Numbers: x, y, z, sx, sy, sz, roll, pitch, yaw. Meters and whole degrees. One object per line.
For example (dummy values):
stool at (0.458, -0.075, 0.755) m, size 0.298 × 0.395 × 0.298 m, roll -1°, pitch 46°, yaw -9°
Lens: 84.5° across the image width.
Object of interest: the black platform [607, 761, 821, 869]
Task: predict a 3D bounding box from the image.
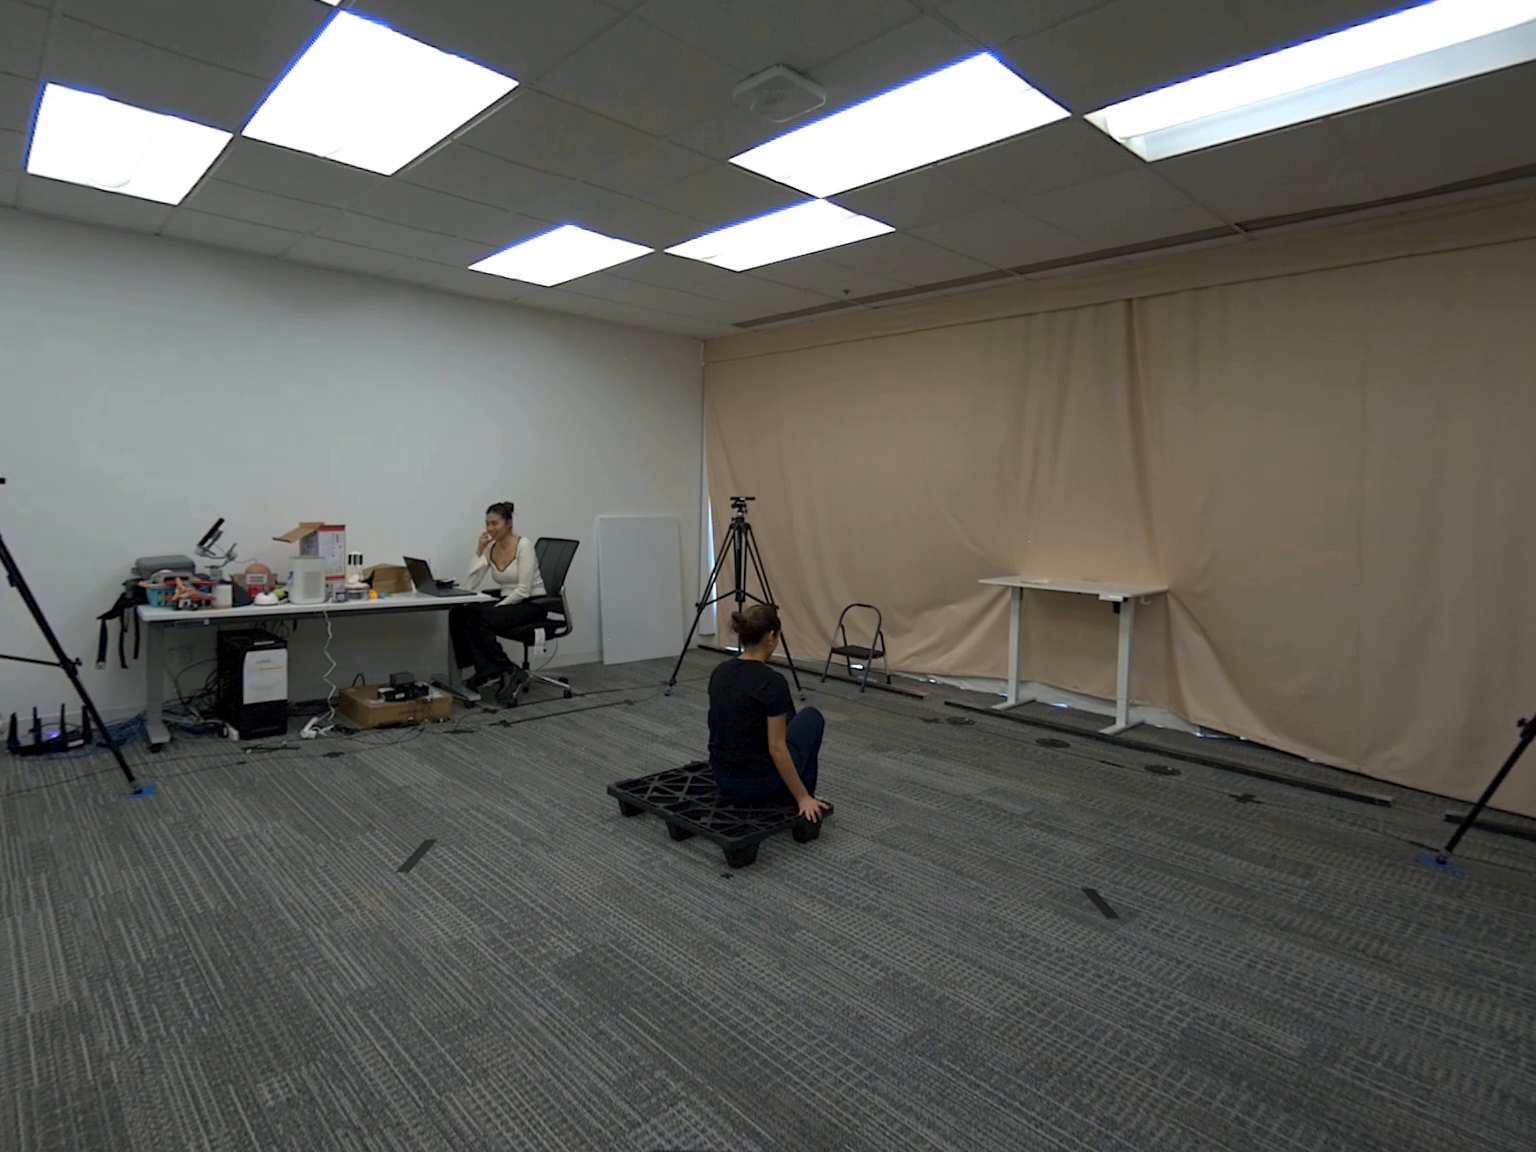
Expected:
black platform at (-0.224, 0.998, 3.554) m, size 0.591 × 0.143 × 0.826 m, roll -4°, pitch 7°, yaw -44°
